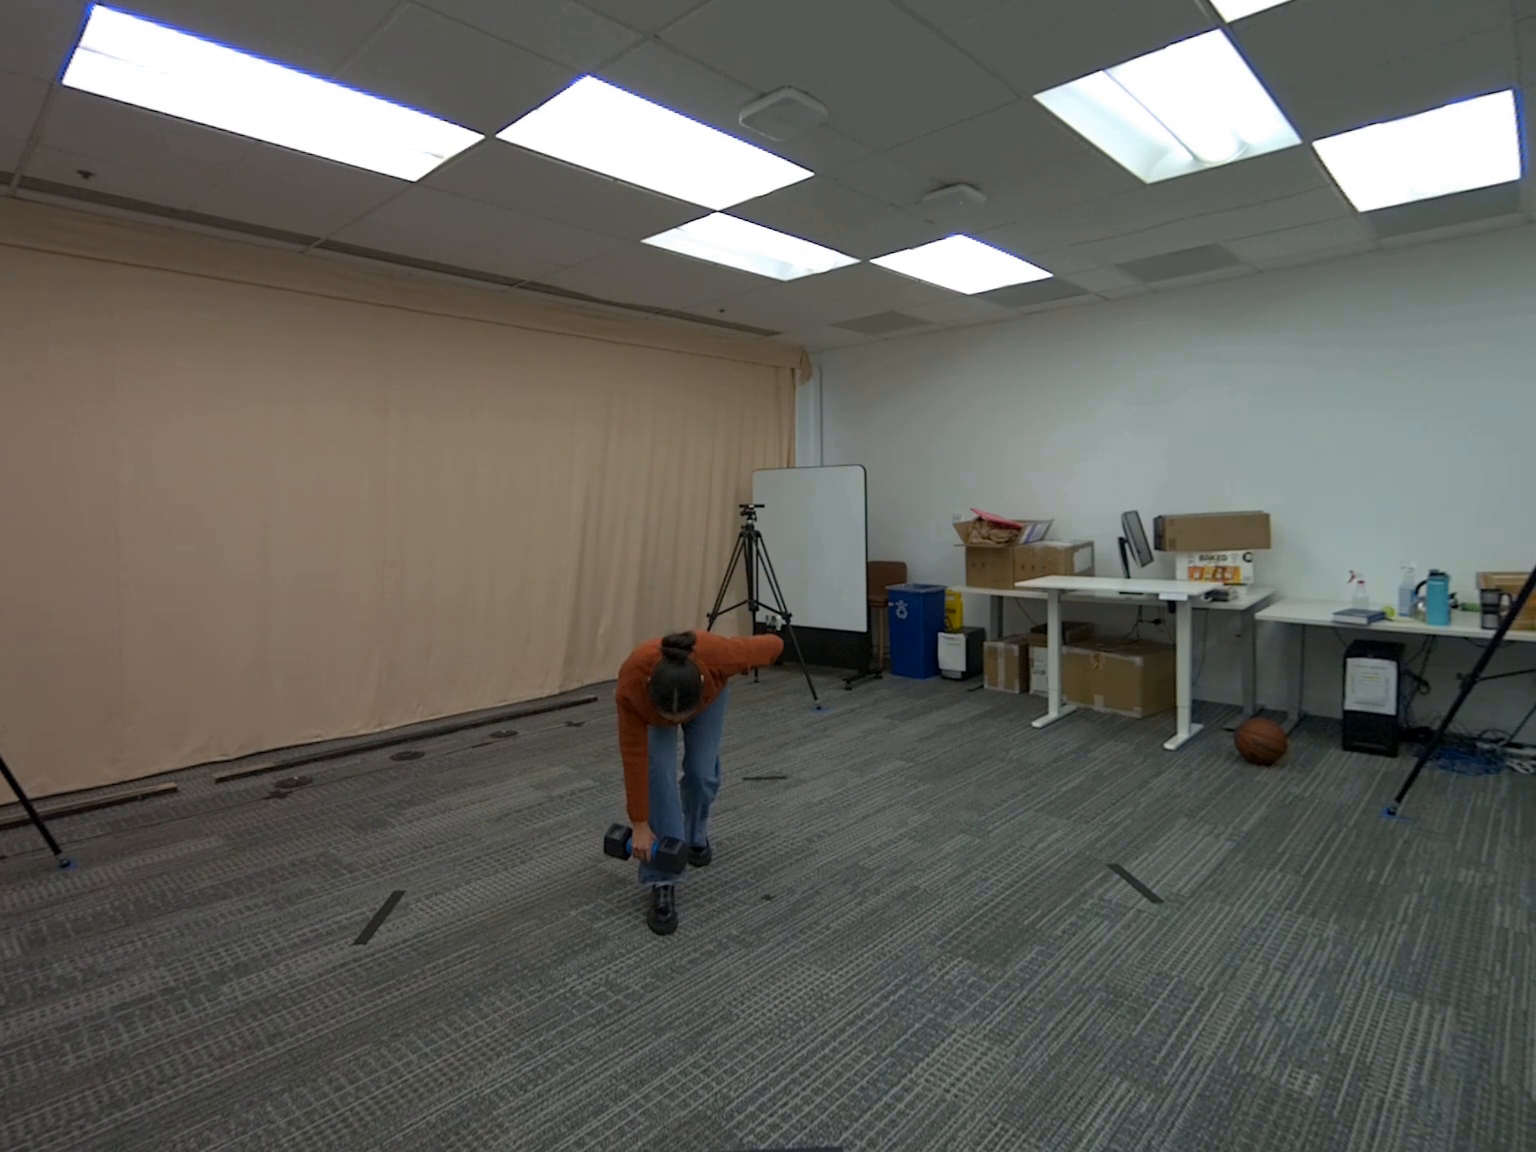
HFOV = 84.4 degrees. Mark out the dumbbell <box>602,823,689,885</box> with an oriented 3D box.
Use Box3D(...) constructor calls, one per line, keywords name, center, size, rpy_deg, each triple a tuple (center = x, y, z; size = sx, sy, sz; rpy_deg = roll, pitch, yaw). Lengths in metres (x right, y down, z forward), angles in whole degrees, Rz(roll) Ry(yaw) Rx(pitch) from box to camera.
Box3D(name="dumbbell", center=(-0.425, 0.942, 2.892), size=(0.302, 0.123, 0.106), rpy_deg=(4, 0, 28))
